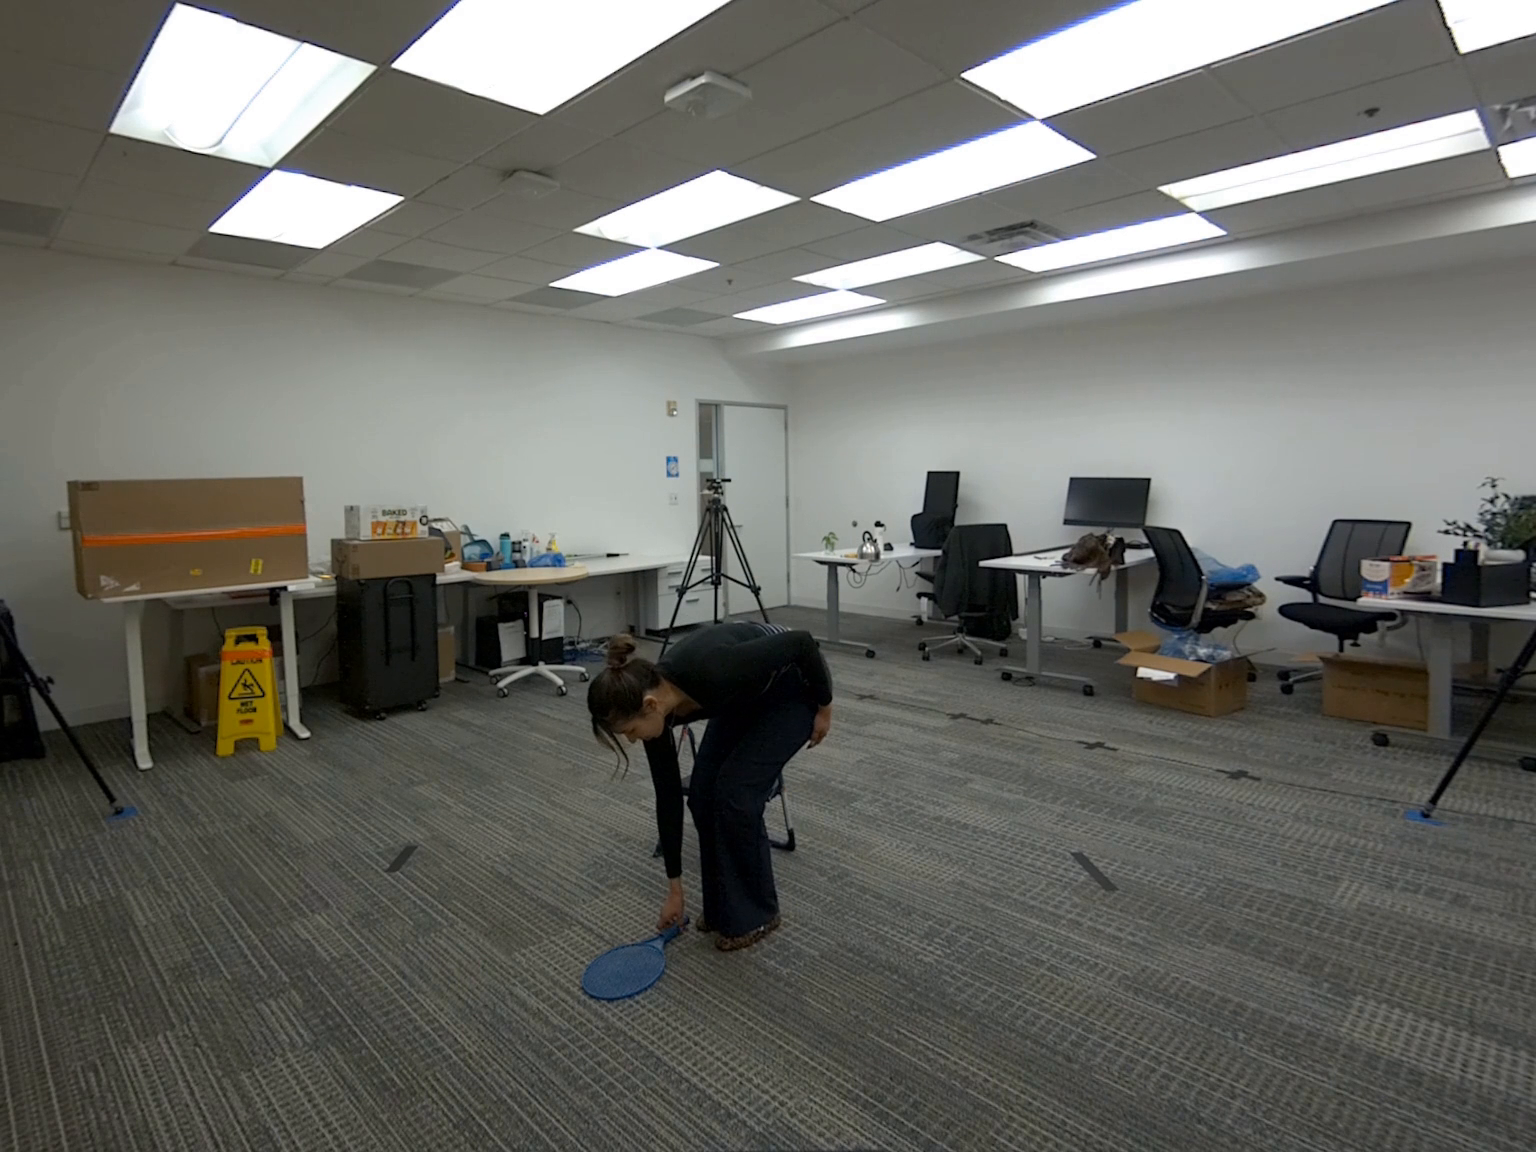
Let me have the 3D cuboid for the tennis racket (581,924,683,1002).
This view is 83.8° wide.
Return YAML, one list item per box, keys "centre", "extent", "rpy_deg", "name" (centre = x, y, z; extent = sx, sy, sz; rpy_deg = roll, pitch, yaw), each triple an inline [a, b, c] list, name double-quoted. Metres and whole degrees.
- centre: [-0.362, 1.099, 2.501]
  extent: [0.219, 0.031, 0.425]
  rpy_deg: [1, 8, 28]
  name: "tennis racket"
